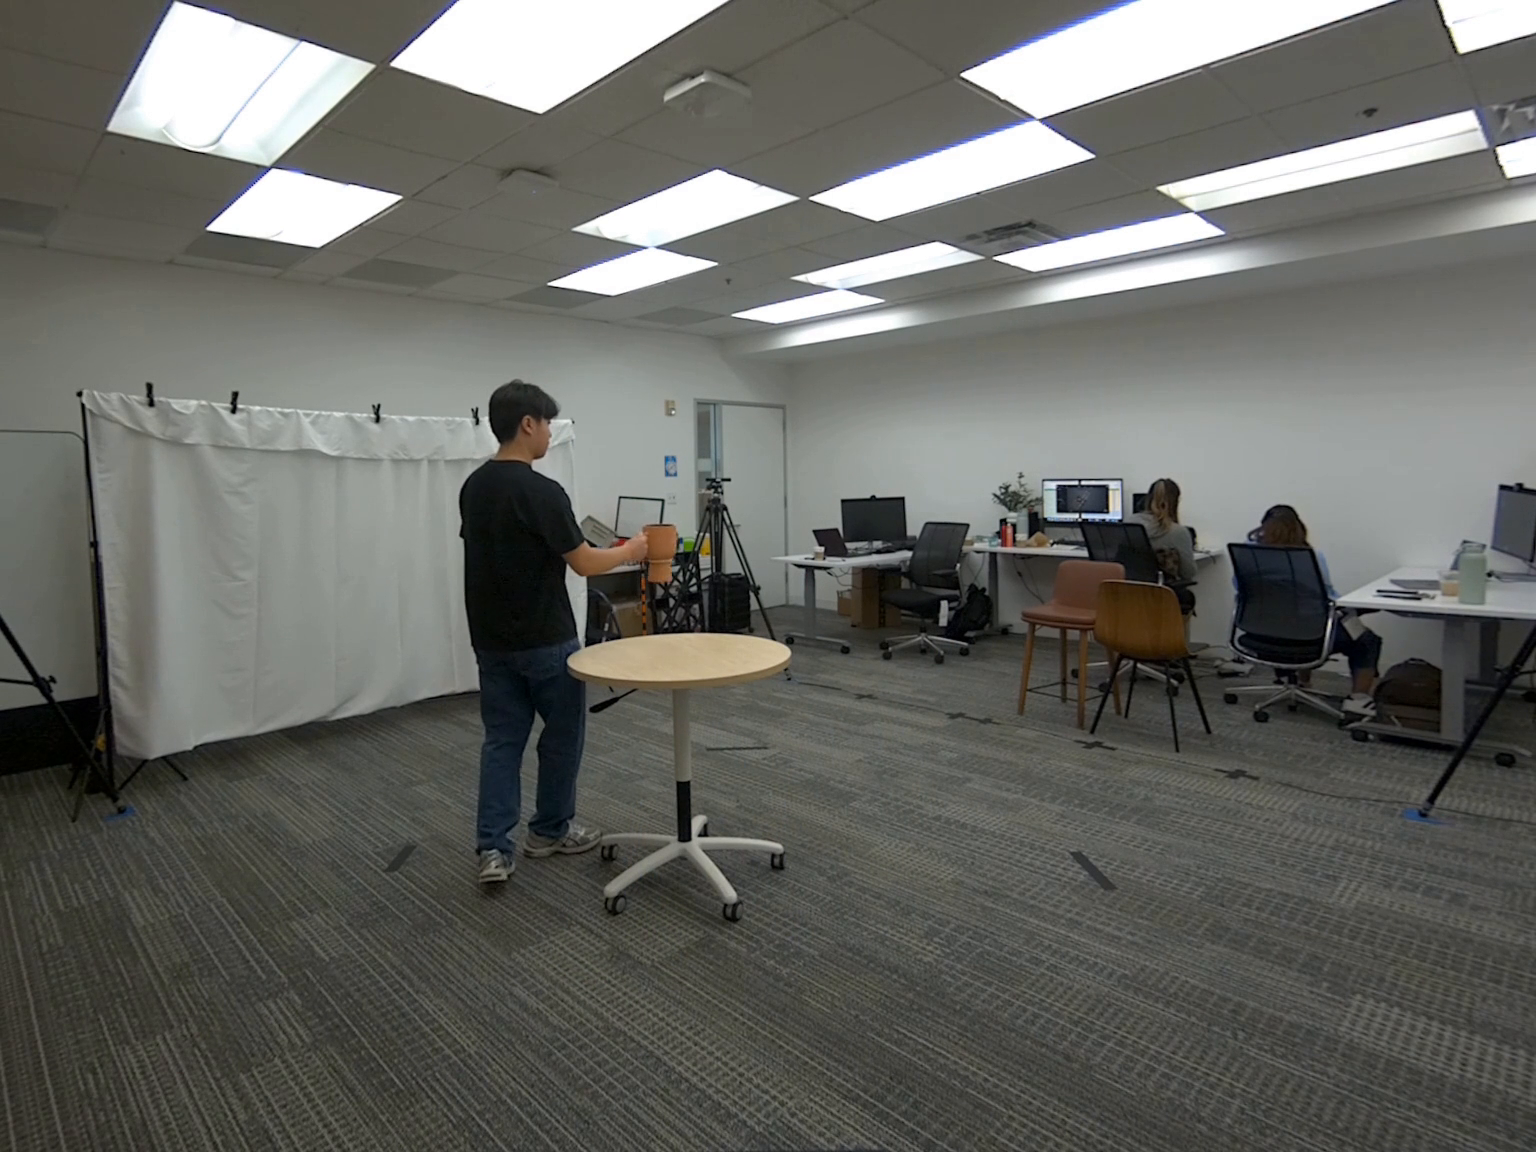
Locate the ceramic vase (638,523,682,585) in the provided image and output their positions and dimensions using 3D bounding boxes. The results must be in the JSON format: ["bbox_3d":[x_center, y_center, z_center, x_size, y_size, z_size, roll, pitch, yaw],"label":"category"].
[{"bbox_3d":[-0.427,-0.091,3.370,0.157,0.218,0.136,-1,7,-9],"label":"ceramic vase"}]
